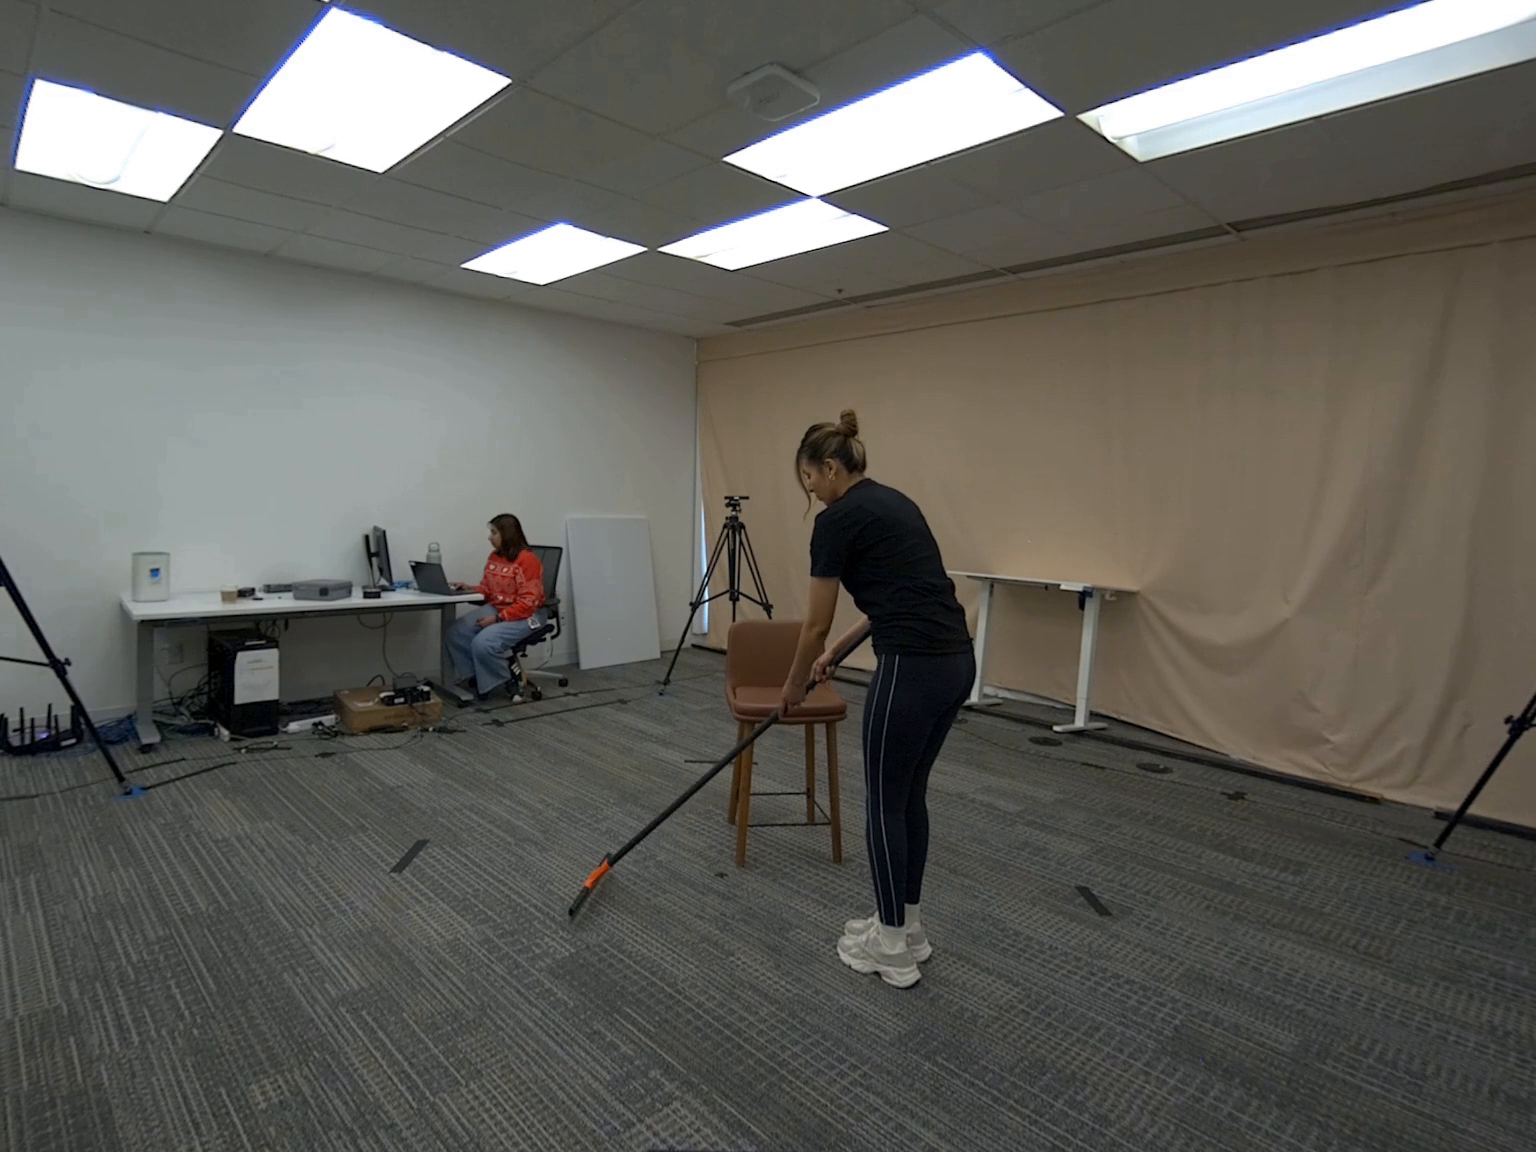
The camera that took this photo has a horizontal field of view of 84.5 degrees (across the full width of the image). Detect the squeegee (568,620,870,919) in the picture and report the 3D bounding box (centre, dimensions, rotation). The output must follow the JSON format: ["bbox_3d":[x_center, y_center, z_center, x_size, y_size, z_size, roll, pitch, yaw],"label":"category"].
[{"bbox_3d":[-0.098,0.556,2.776,1.538,0.053,0.437,-43,1,8],"label":"squeegee"}]
